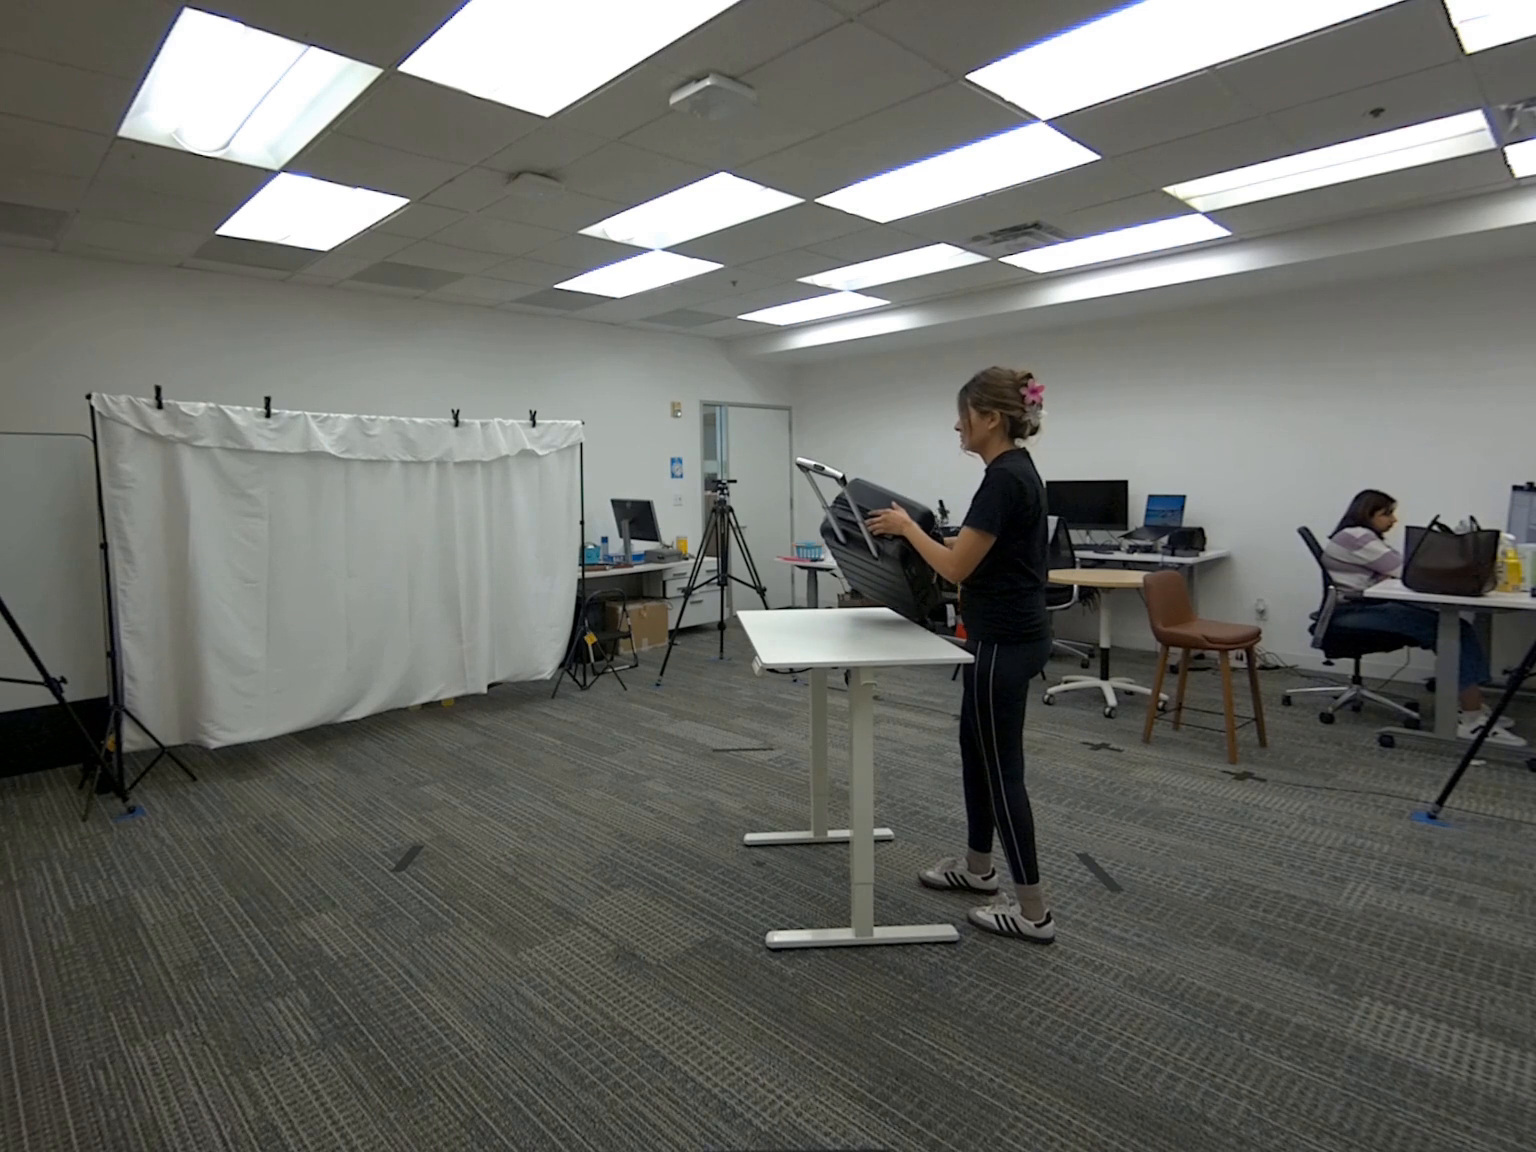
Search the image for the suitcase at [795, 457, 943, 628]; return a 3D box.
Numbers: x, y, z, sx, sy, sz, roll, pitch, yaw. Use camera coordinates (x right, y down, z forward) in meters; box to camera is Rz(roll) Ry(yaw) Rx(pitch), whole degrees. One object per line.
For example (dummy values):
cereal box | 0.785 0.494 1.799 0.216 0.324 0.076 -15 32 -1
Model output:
suitcase | 0.354 -0.180 2.857 0.398 0.257 0.942 27 -16 34
